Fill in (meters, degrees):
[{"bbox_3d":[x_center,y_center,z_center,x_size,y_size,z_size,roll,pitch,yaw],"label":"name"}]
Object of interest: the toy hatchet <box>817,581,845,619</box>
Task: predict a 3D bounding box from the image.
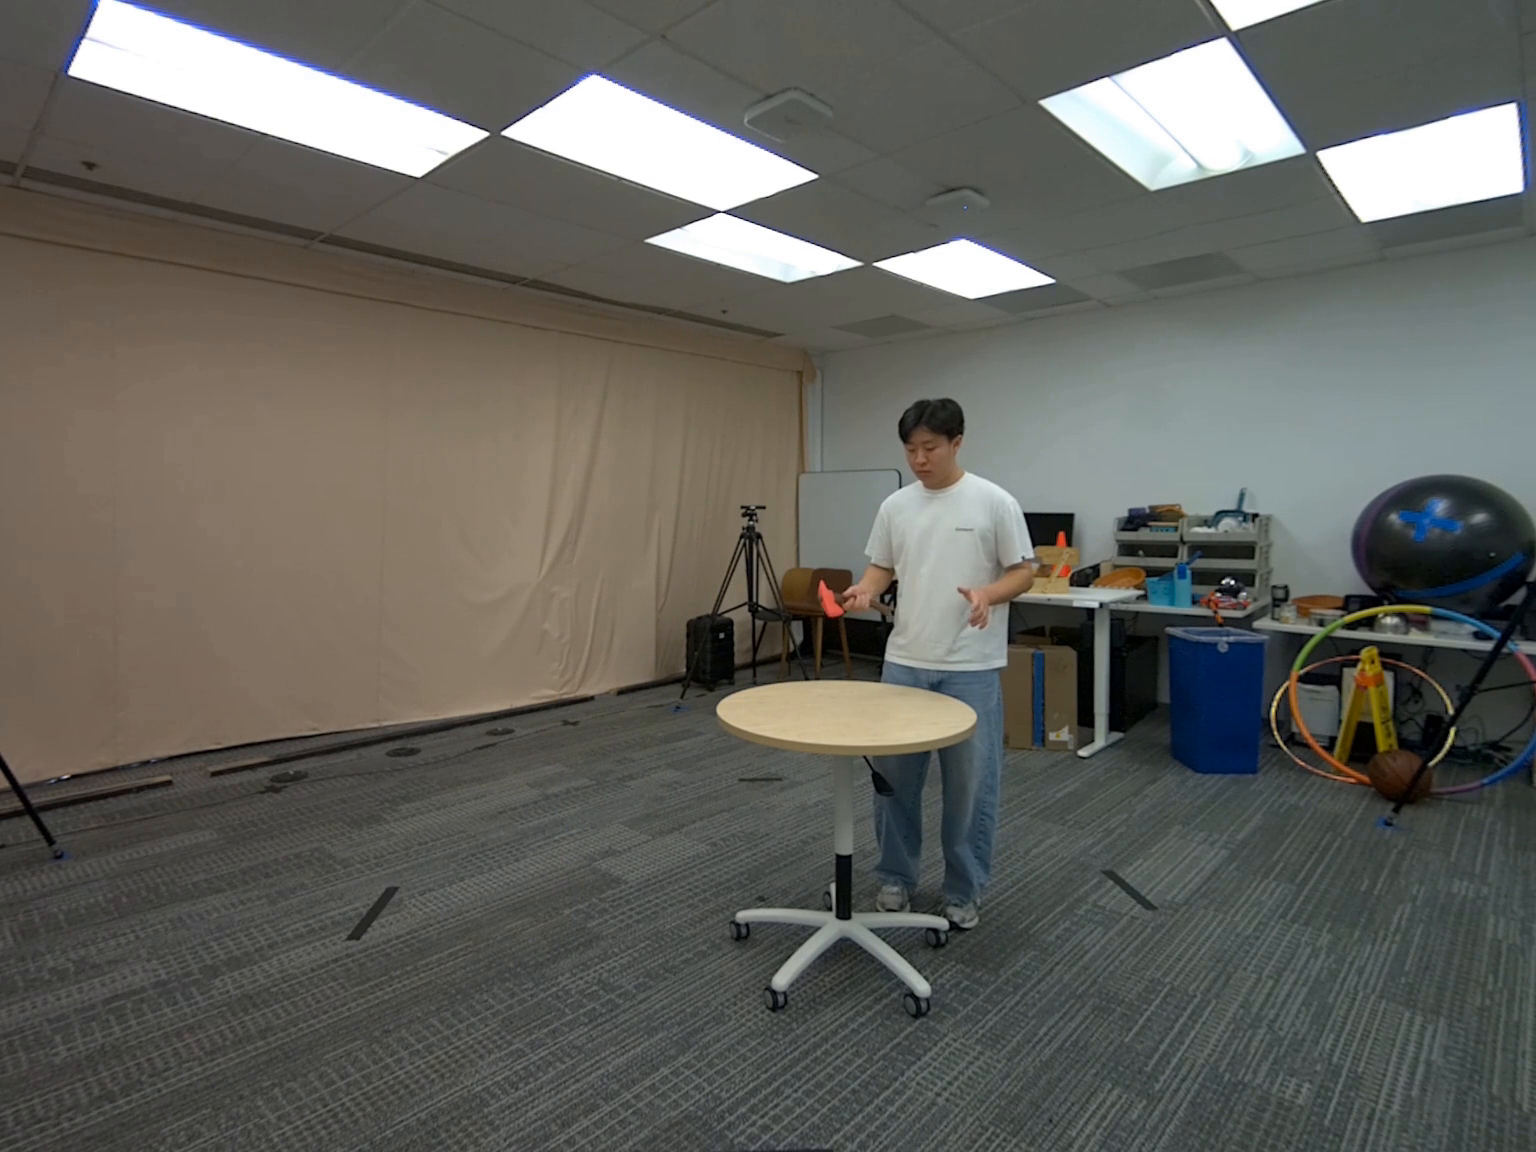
[{"bbox_3d":[0.304,0.096,2.758,0.266,0.133,0.029,16,-37,-13],"label":"toy hatchet"}]
